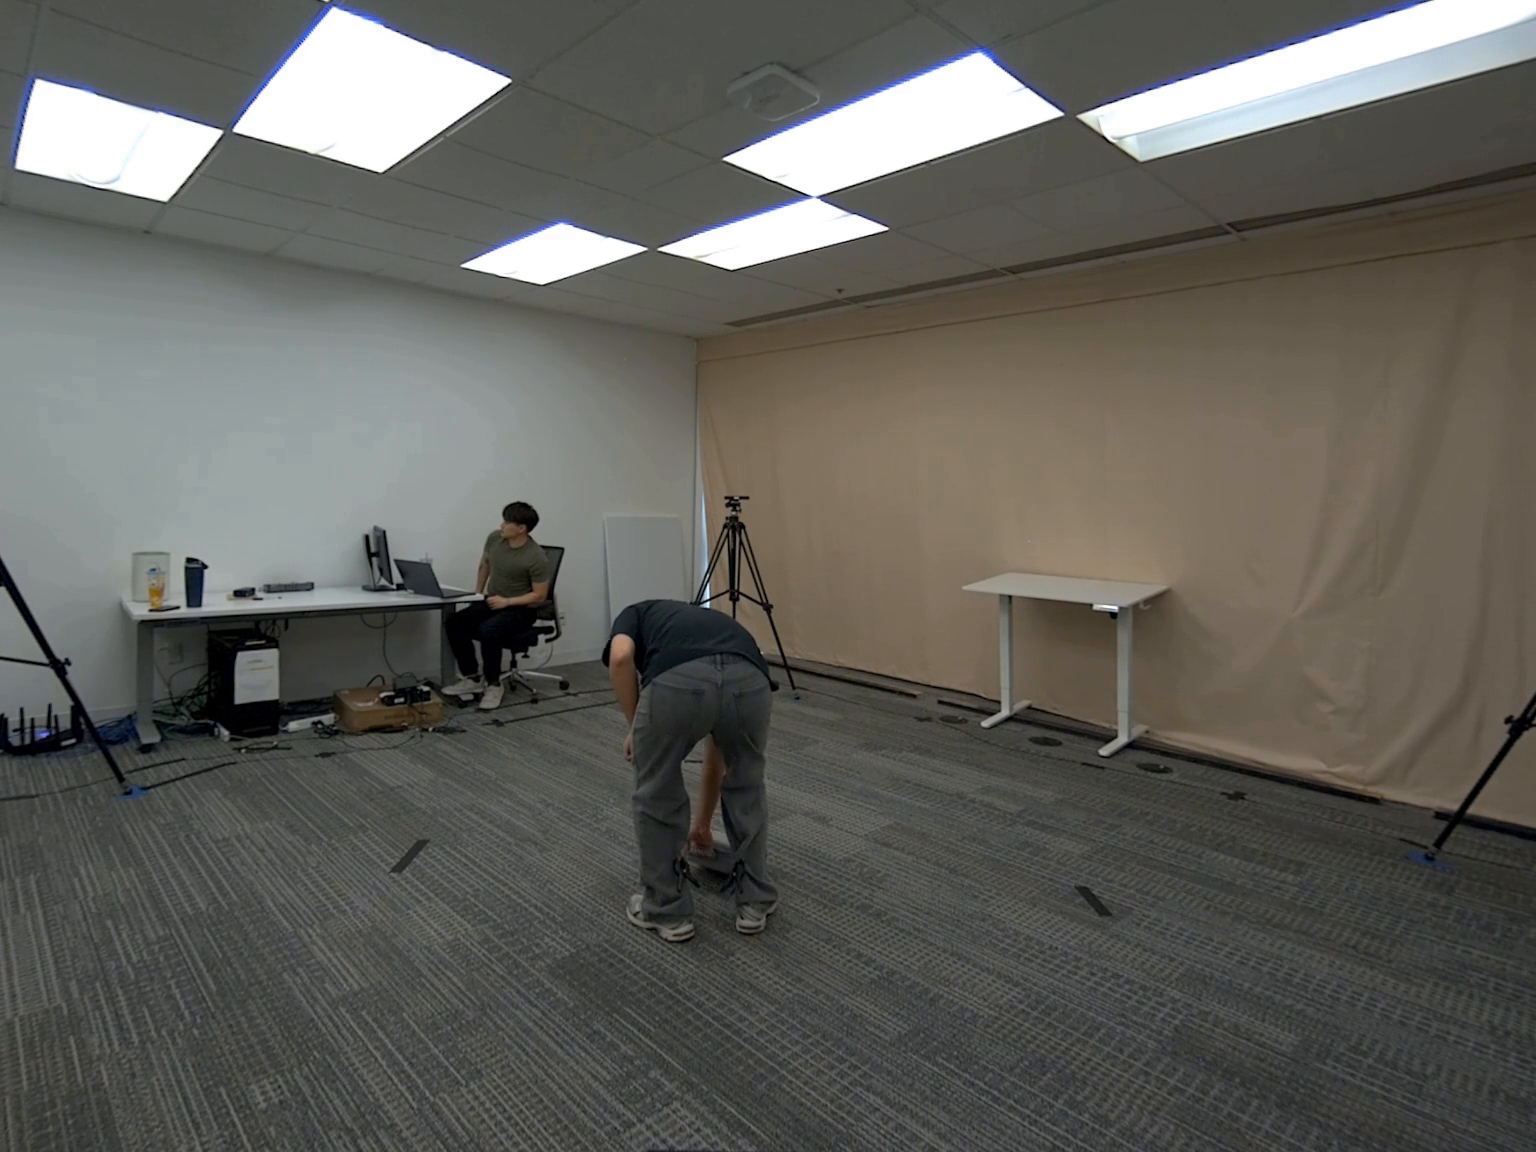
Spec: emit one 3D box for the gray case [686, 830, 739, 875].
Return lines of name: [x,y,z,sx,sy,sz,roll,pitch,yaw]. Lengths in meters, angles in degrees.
gray case: [-0.170,1.017,3.106,0.269,0.103,0.279,5,-11,34]
